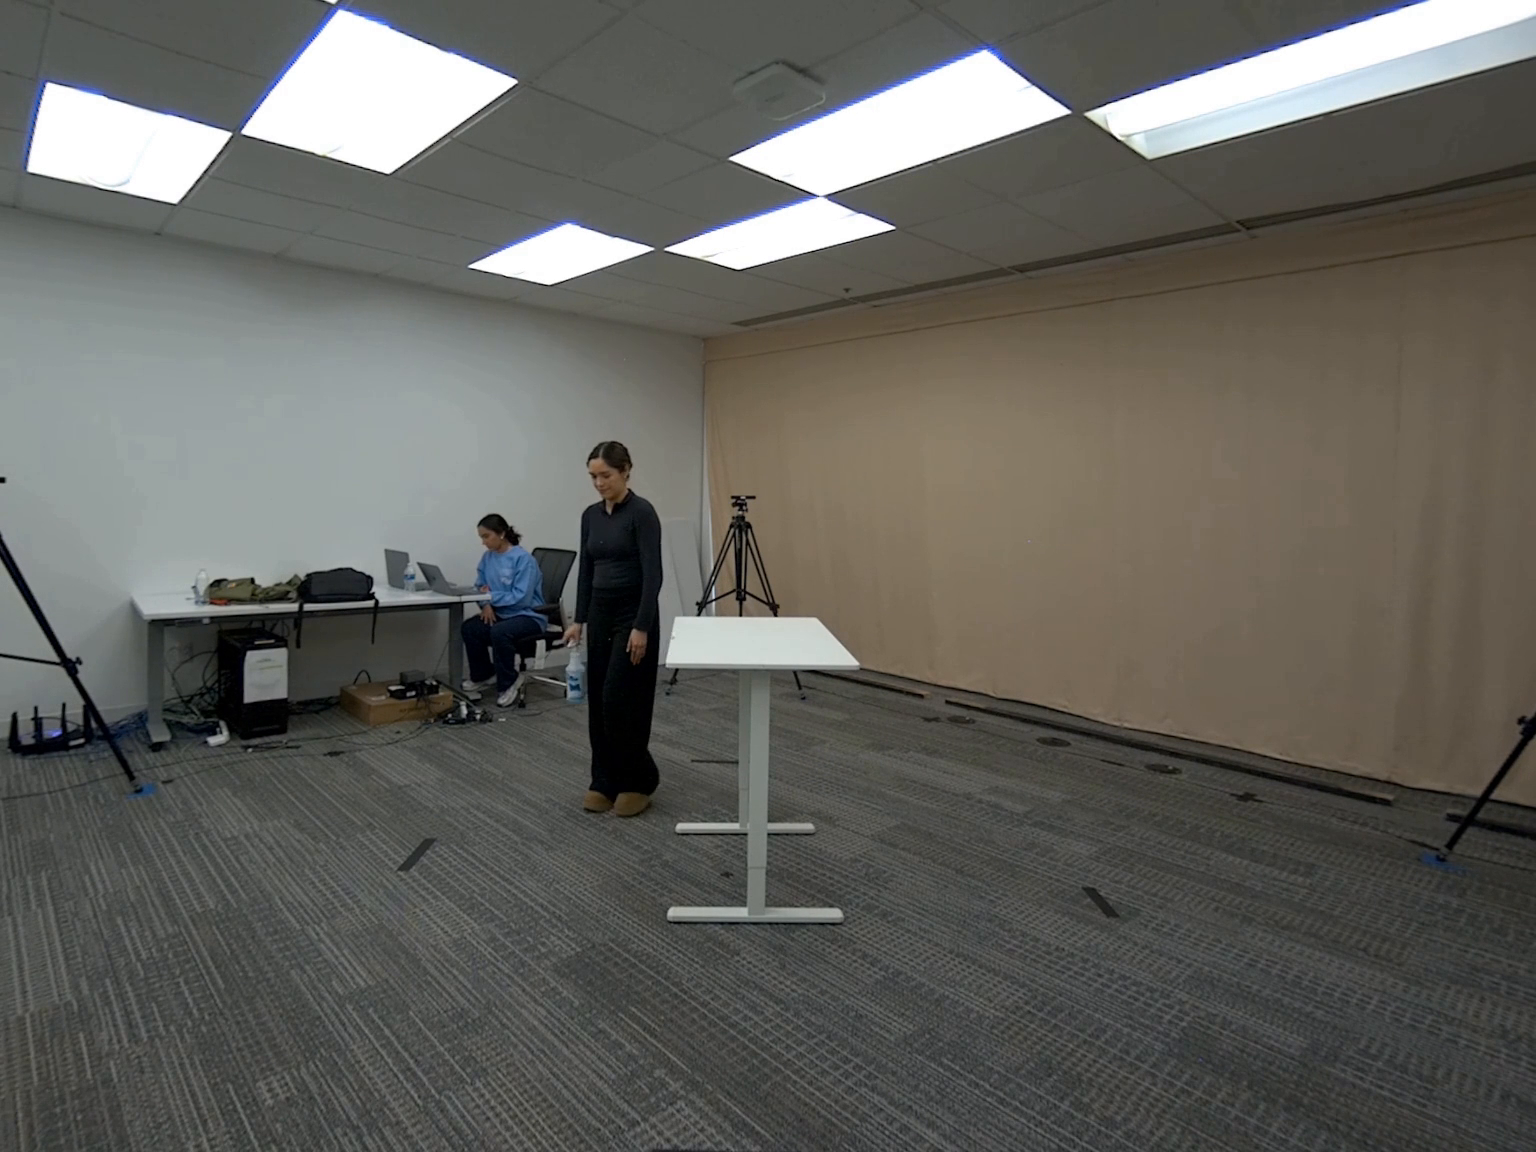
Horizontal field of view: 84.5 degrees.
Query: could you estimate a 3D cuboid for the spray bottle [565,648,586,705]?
[{"bbox_3d":[-0.883,0.431,3.861,0.088,0.296,0.089,-2,8,-30],"label":"spray bottle"}]
